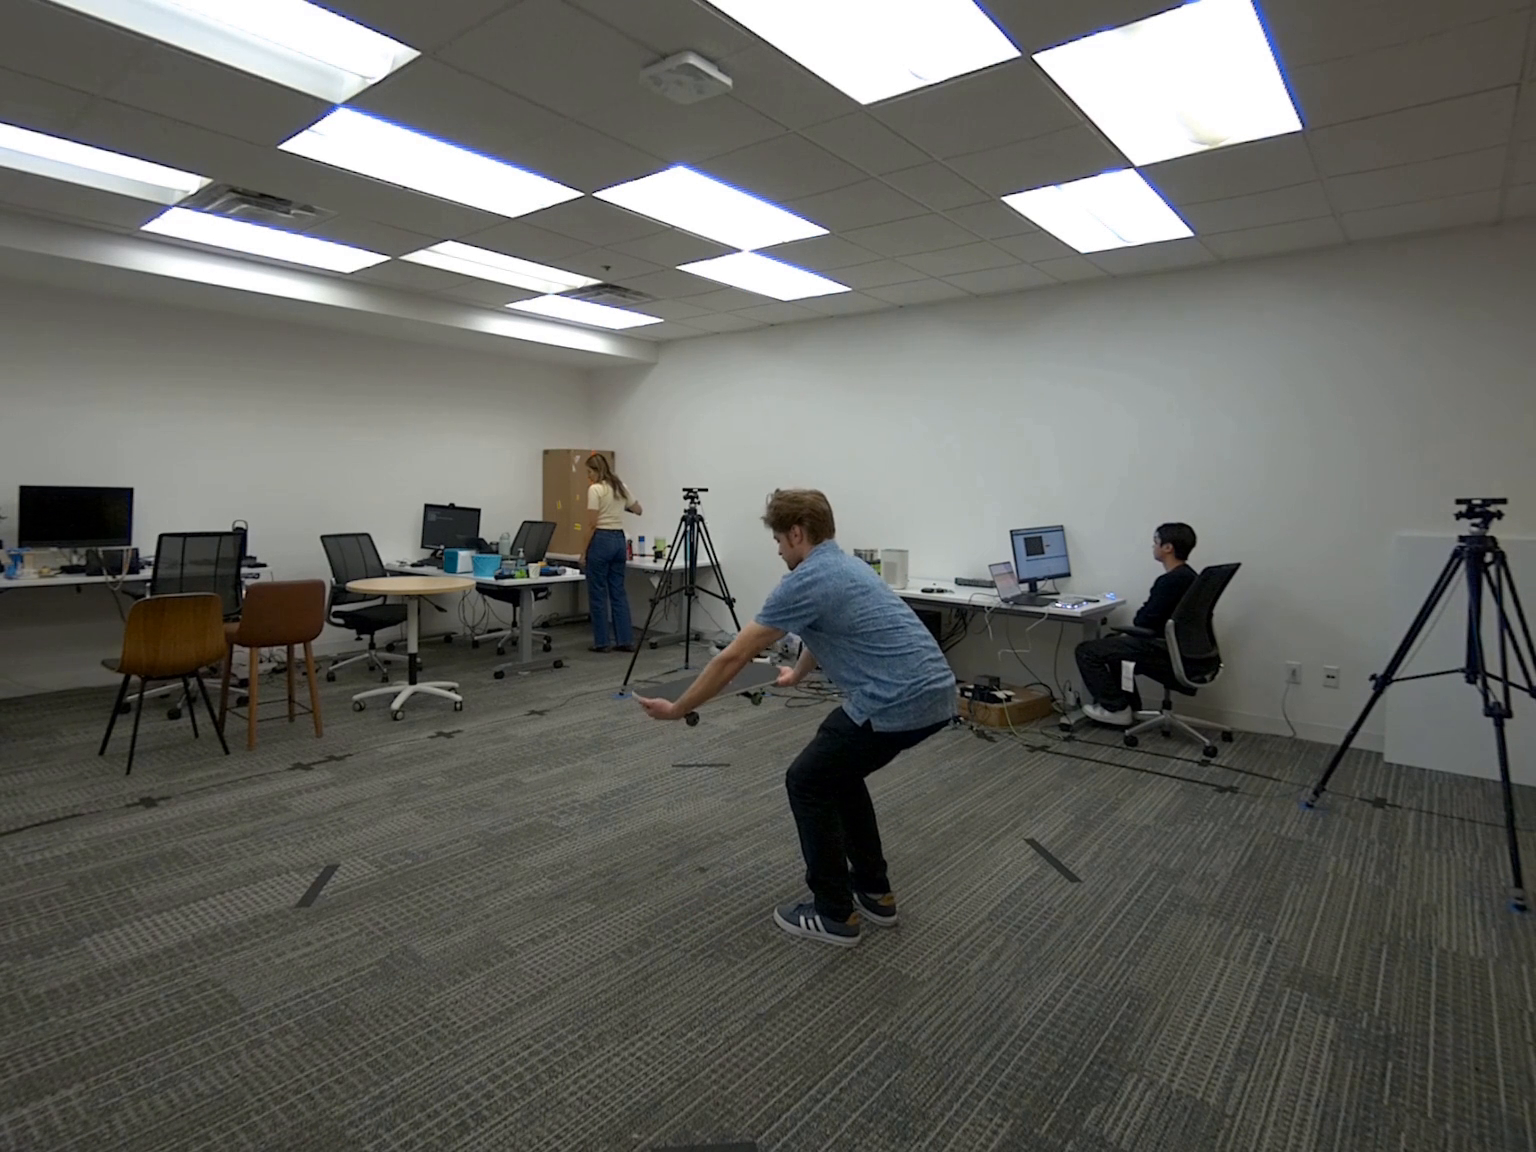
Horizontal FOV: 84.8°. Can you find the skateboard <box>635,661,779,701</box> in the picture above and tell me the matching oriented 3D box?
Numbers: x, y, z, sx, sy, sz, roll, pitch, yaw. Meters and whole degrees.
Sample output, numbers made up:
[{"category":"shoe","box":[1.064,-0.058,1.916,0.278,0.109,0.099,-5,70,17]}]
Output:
[{"category":"skateboard","box":[-0.202,0.430,3.072,0.200,0.109,0.763,14,11,32]}]
